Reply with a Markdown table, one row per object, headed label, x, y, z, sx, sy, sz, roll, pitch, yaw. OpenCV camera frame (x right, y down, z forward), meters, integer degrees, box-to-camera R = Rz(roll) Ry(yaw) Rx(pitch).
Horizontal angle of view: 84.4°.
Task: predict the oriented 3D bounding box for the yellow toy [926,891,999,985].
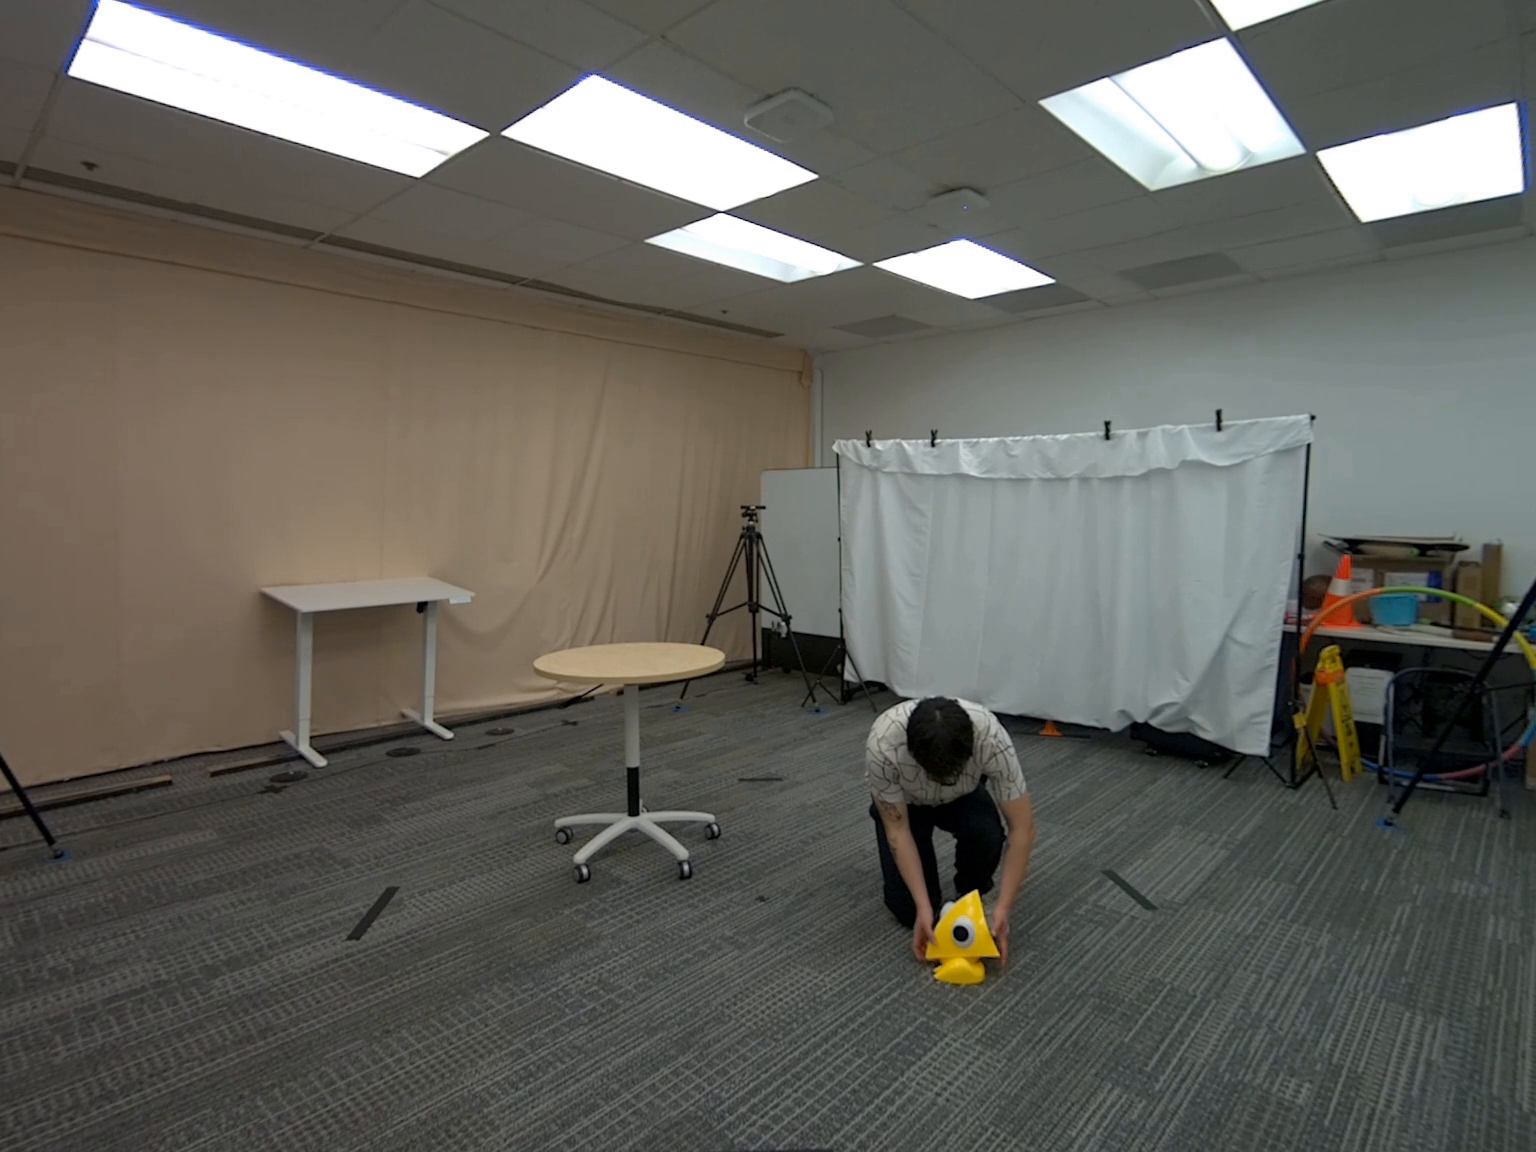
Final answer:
| label | x | y | z | sx | sy | sz | roll | pitch | yaw |
| --- | --- | --- | --- | --- | --- | --- | --- | --- | --- |
| yellow toy | 0.569 | 1.059 | 2.546 | 0.192 | 0.230 | 0.206 | 1 | 3 | -6 |
